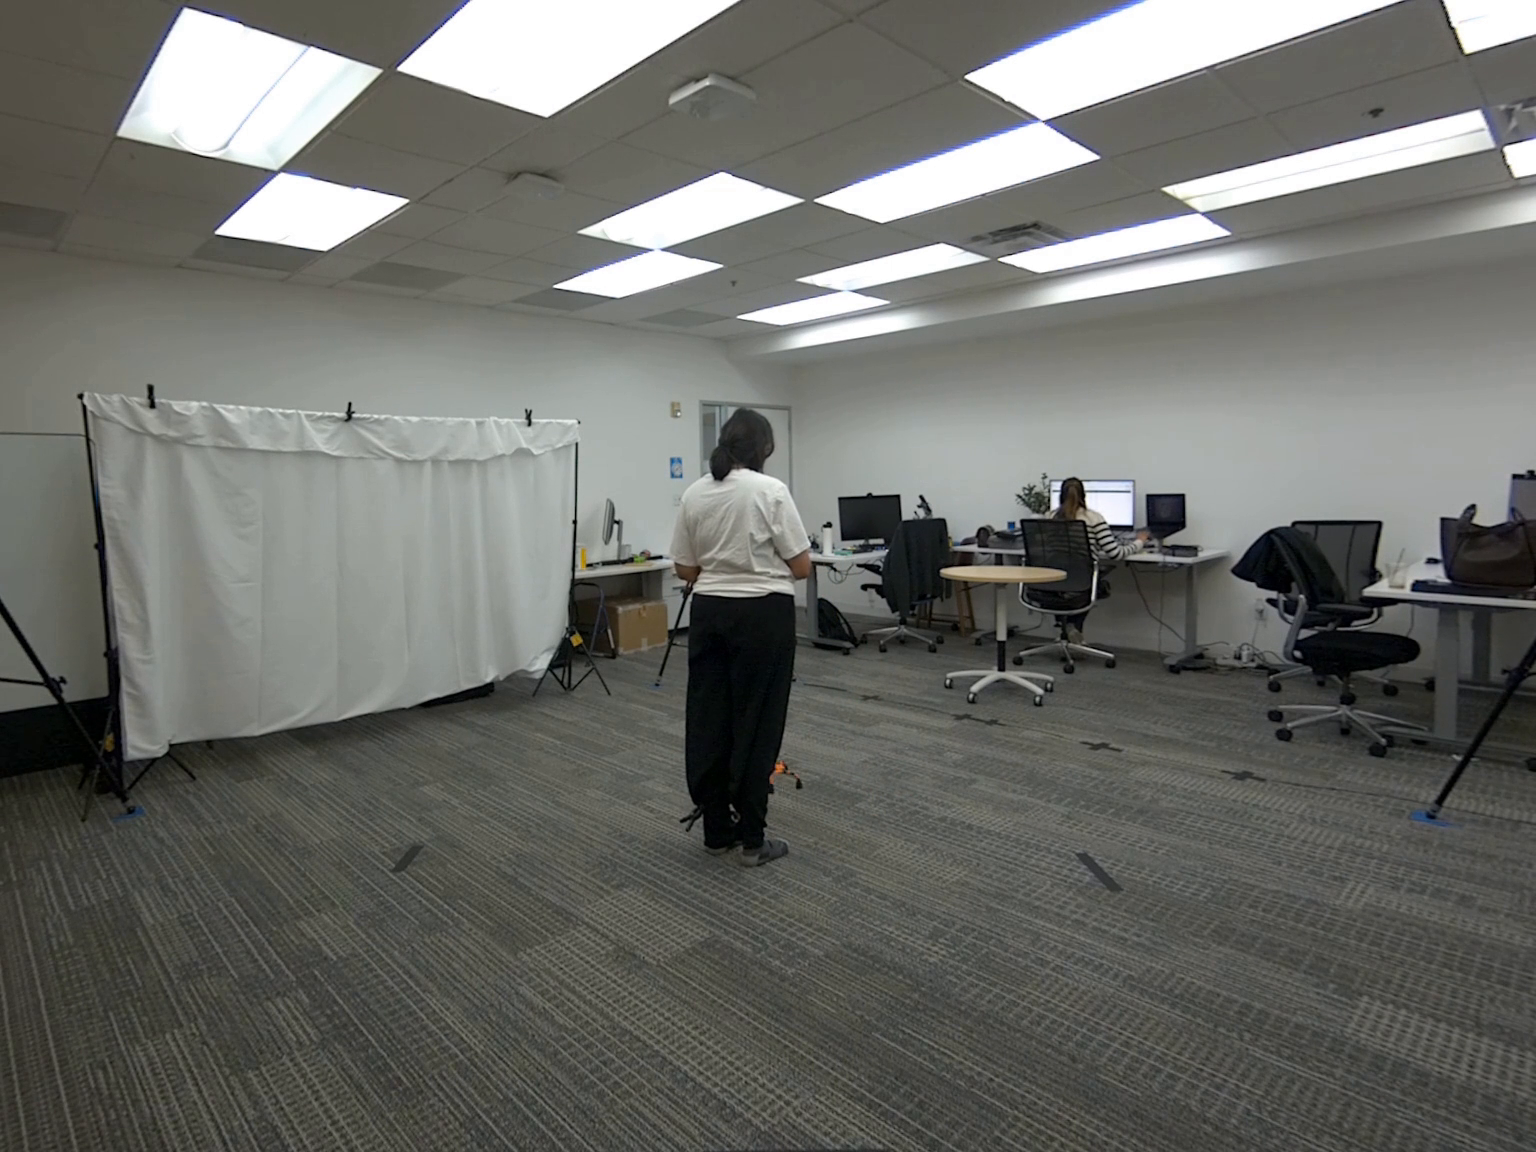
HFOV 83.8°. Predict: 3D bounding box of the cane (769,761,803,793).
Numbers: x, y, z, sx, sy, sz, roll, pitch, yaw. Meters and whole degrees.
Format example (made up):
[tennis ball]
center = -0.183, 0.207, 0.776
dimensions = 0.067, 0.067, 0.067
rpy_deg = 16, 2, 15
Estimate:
[cane]
center = 0.029, 0.430, 3.526
dimensions = 0.149, 0.903, 0.210
rpy_deg = -4, 6, -17
